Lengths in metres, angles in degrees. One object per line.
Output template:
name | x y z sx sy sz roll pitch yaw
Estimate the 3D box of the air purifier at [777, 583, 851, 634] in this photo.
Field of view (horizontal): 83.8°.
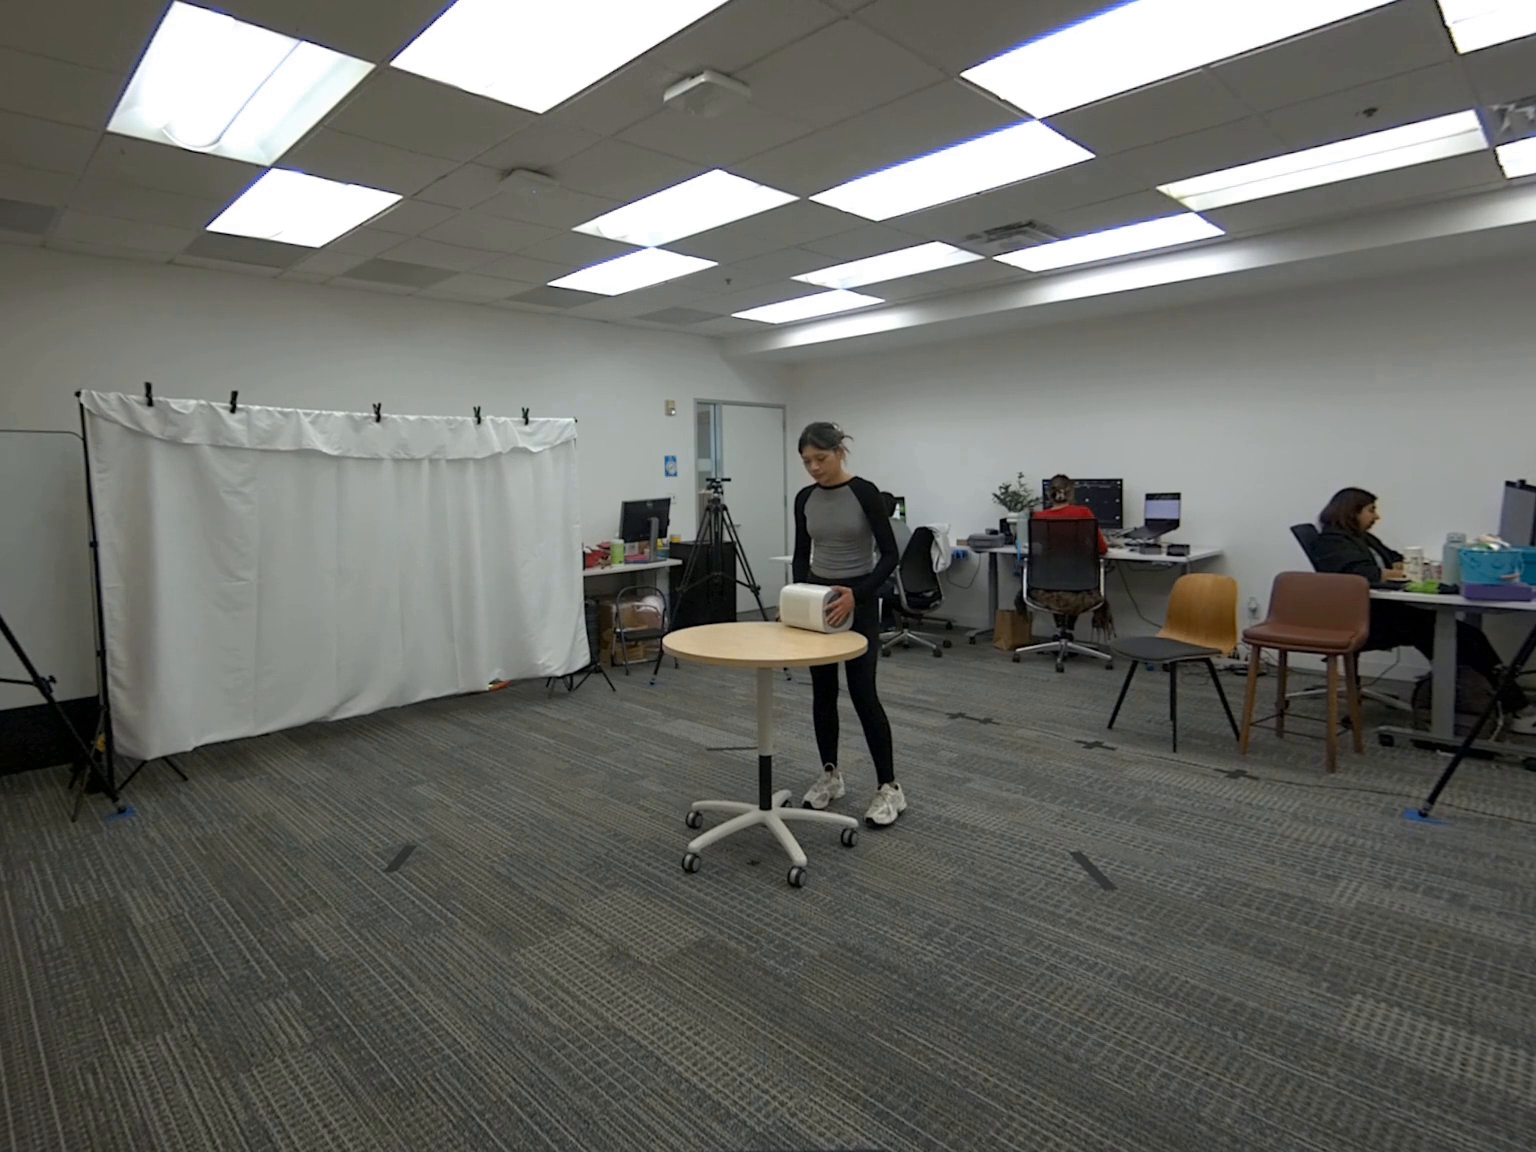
air purifier | 0.188 0.126 3.419 0.166 0.171 0.273 -5 7 -38
